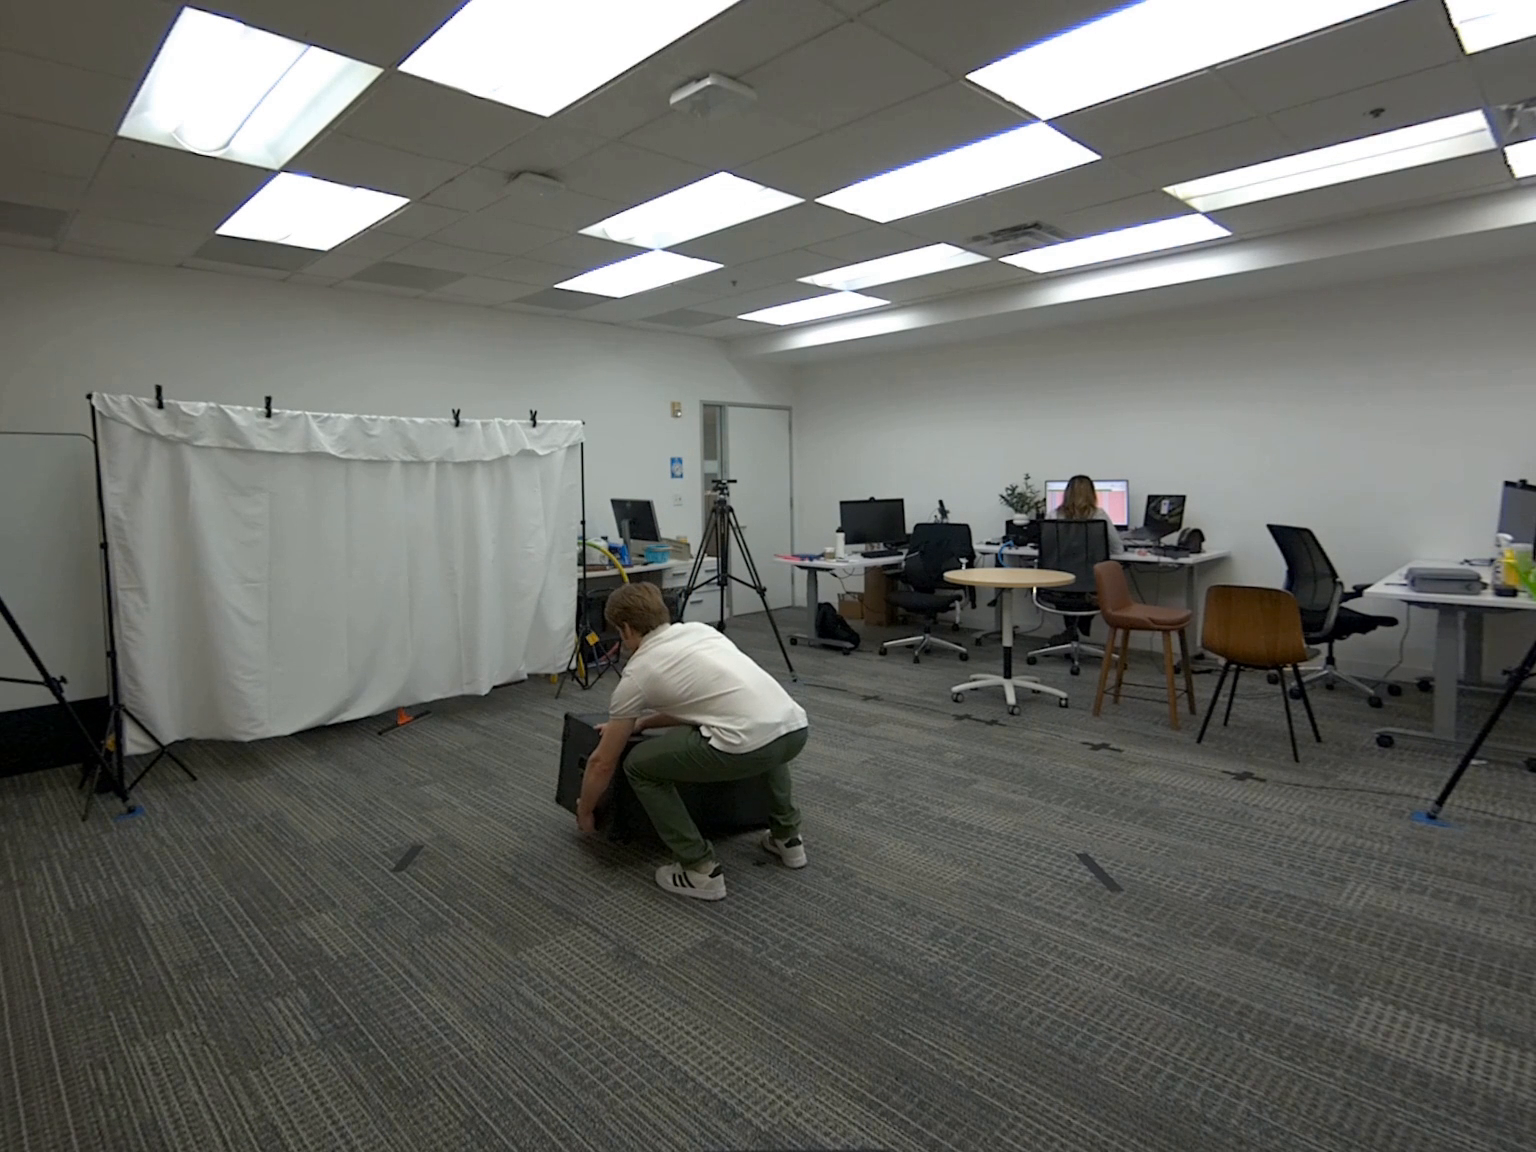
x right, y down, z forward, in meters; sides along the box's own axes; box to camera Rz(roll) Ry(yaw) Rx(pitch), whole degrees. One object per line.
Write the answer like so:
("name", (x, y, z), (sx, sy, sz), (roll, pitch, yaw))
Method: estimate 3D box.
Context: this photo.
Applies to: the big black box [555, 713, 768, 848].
("big black box", (-0.347, 0.780, 3.455), (0.843, 0.385, 0.538), (5, 0, -36))
